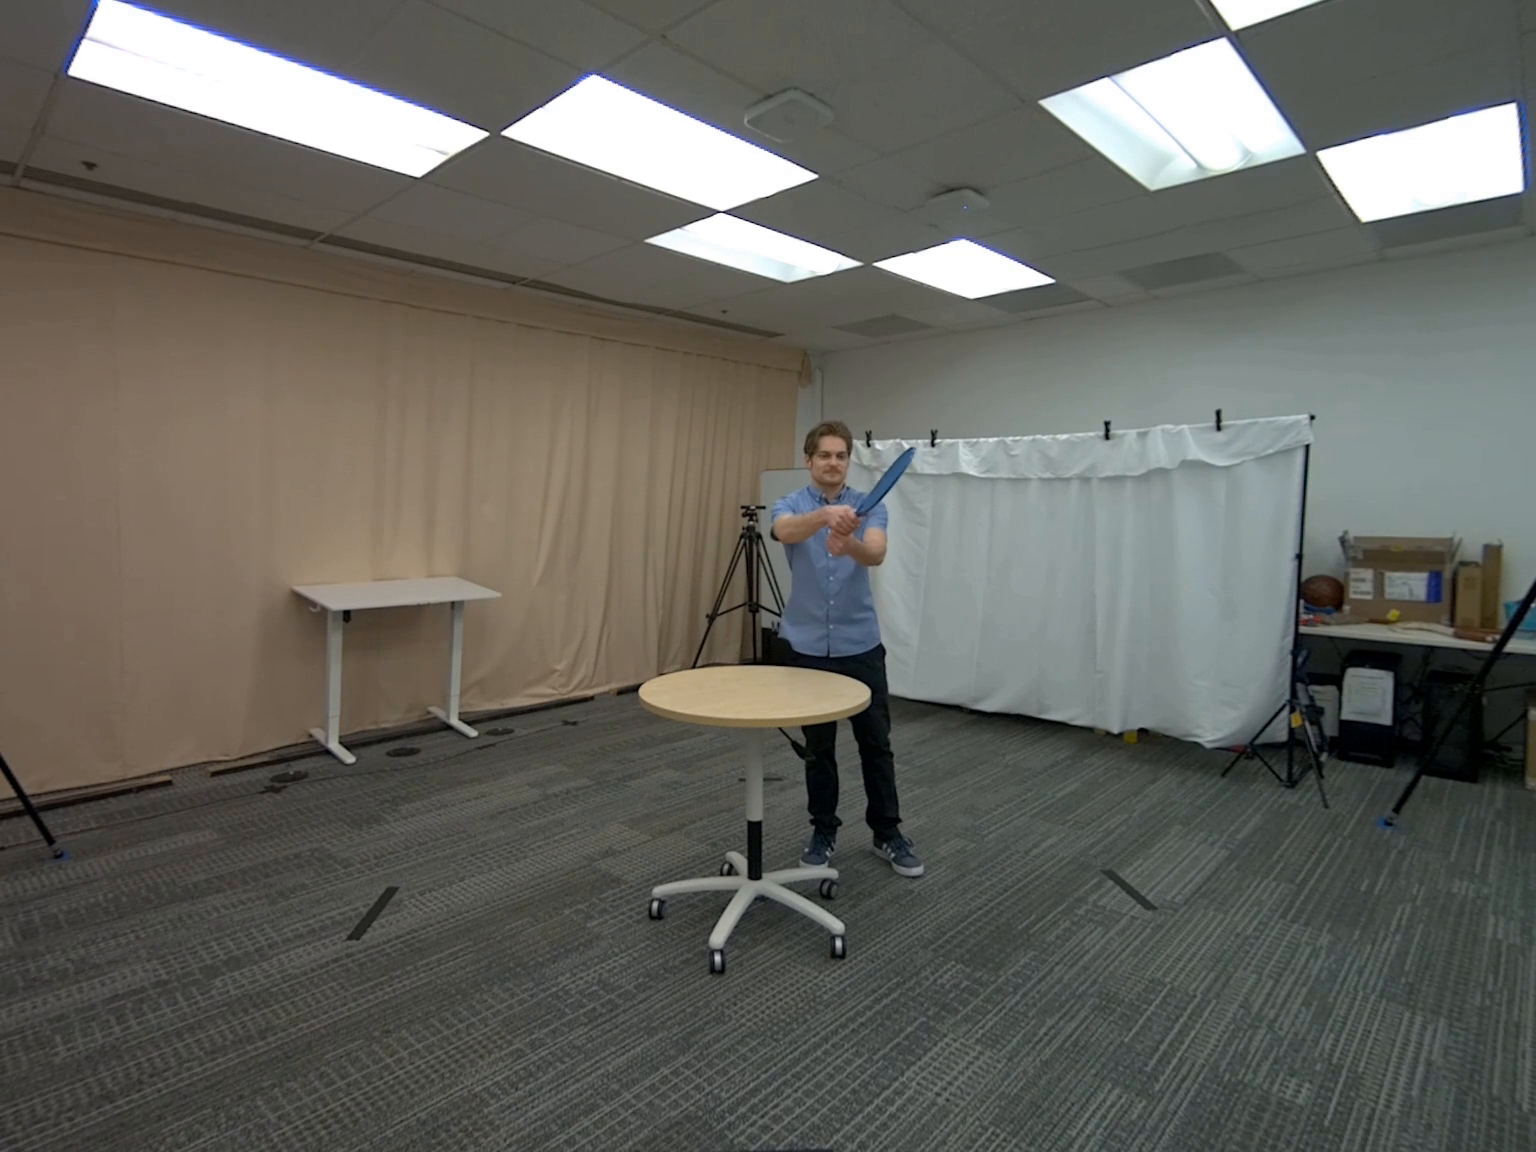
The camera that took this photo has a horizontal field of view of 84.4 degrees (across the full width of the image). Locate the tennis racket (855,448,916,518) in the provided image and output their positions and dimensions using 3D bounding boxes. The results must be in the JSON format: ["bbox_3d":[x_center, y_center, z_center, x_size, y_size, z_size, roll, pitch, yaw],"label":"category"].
[{"bbox_3d":[0.328,-0.244,2.668,0.031,0.434,0.214,31,40,-8],"label":"tennis racket"}]
